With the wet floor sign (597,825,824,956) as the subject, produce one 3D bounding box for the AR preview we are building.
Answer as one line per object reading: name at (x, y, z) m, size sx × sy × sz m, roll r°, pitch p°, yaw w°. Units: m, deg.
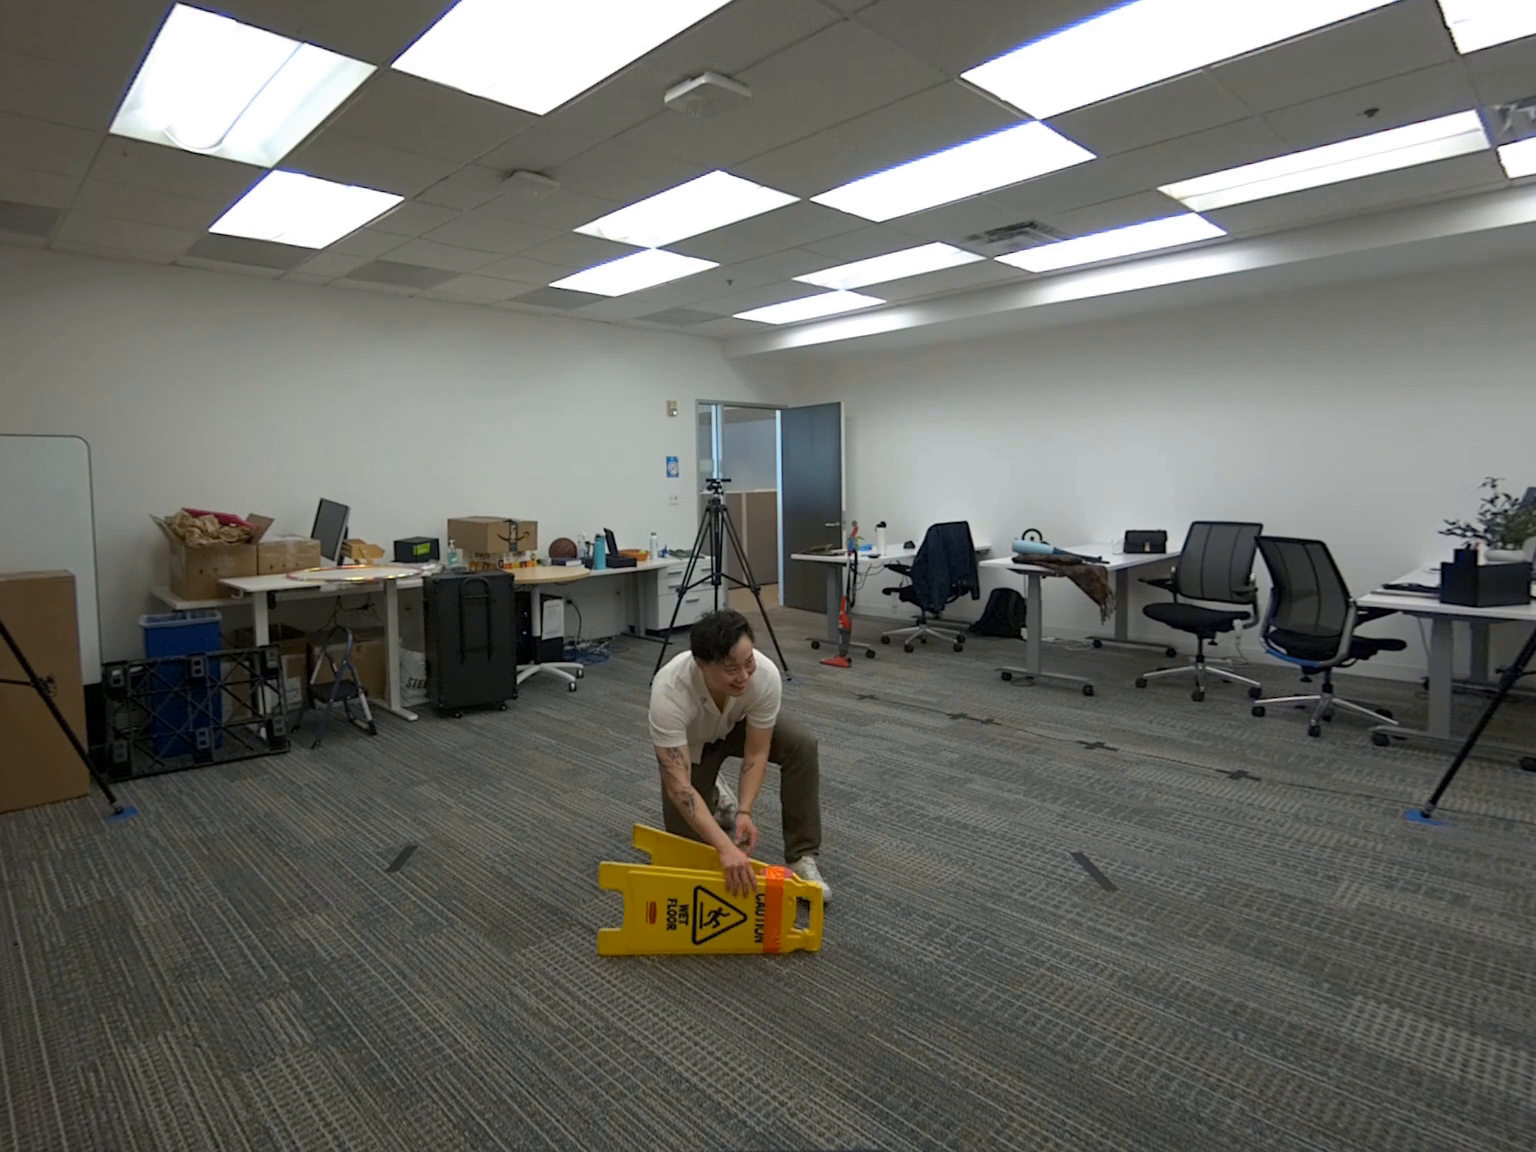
wet floor sign at (-0.156, 0.983, 2.585) m, size 0.655 × 0.281 × 0.287 m, roll 3°, pitch 5°, yaw 13°
